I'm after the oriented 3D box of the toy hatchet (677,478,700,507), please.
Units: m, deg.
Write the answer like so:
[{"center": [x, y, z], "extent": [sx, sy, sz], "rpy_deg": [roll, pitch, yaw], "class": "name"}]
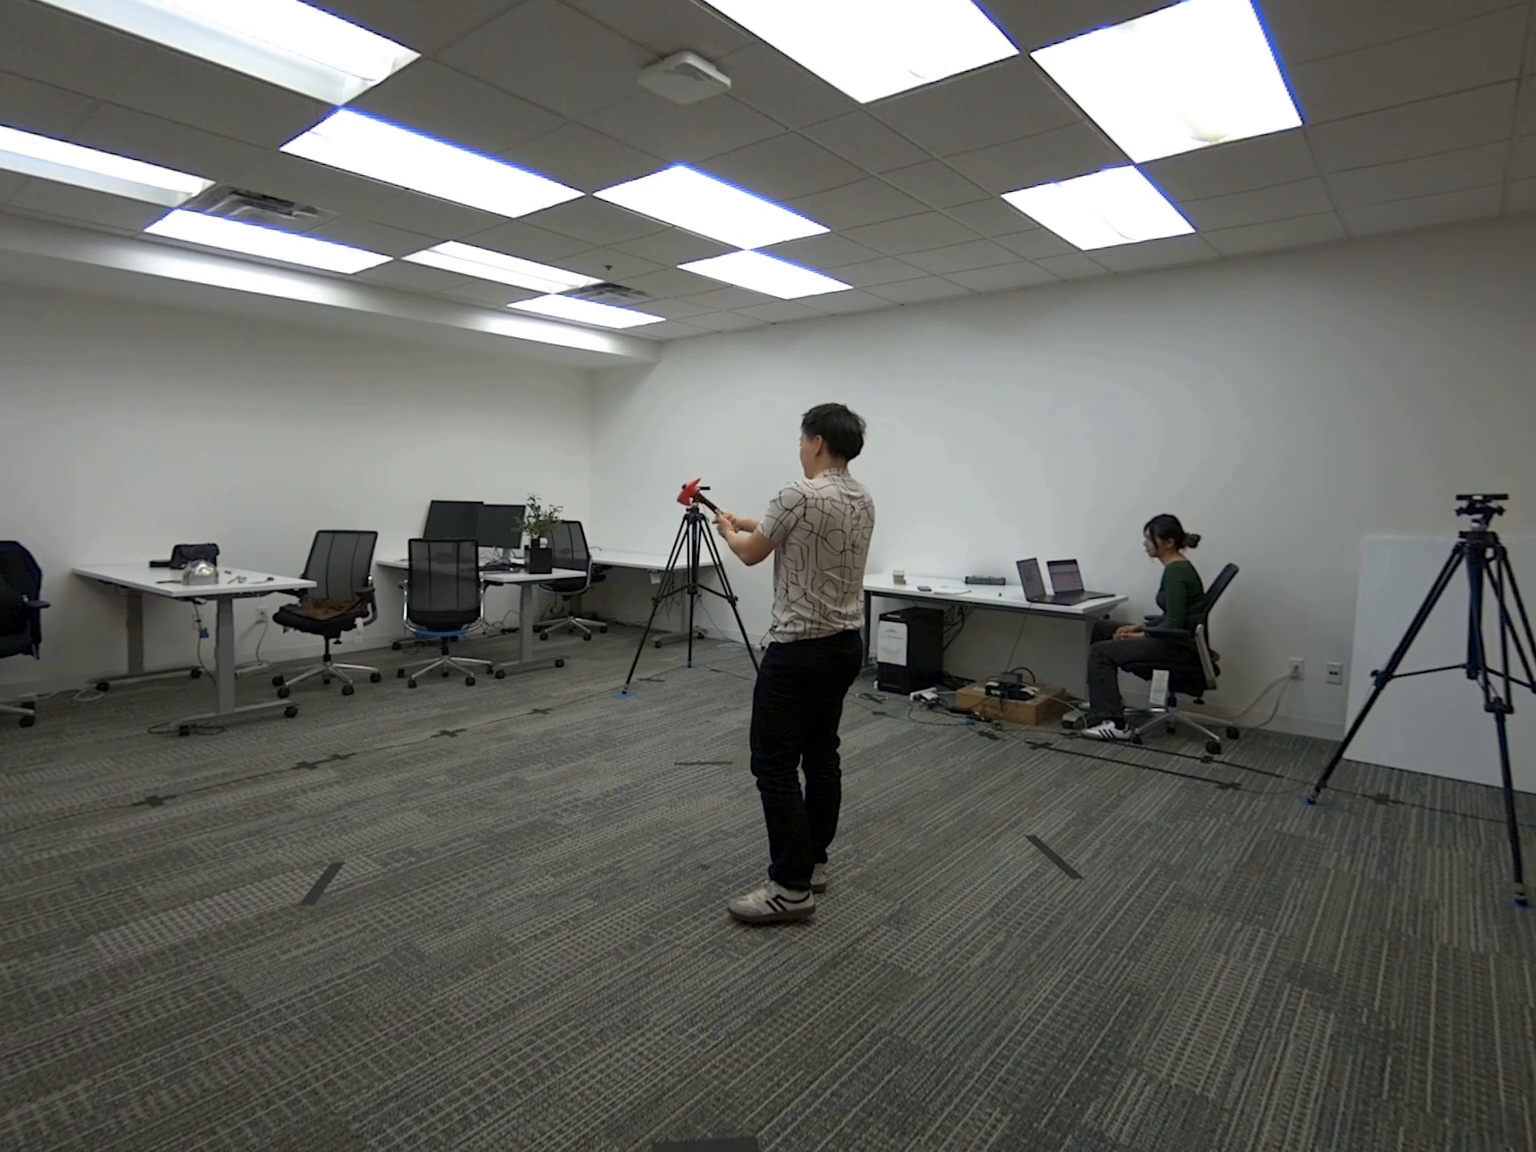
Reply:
[{"center": [-0.270, -0.255, 3.310], "extent": [0.132, 0.261, 0.030], "rpy_deg": [-26, 30, 11], "class": "toy hatchet"}]
